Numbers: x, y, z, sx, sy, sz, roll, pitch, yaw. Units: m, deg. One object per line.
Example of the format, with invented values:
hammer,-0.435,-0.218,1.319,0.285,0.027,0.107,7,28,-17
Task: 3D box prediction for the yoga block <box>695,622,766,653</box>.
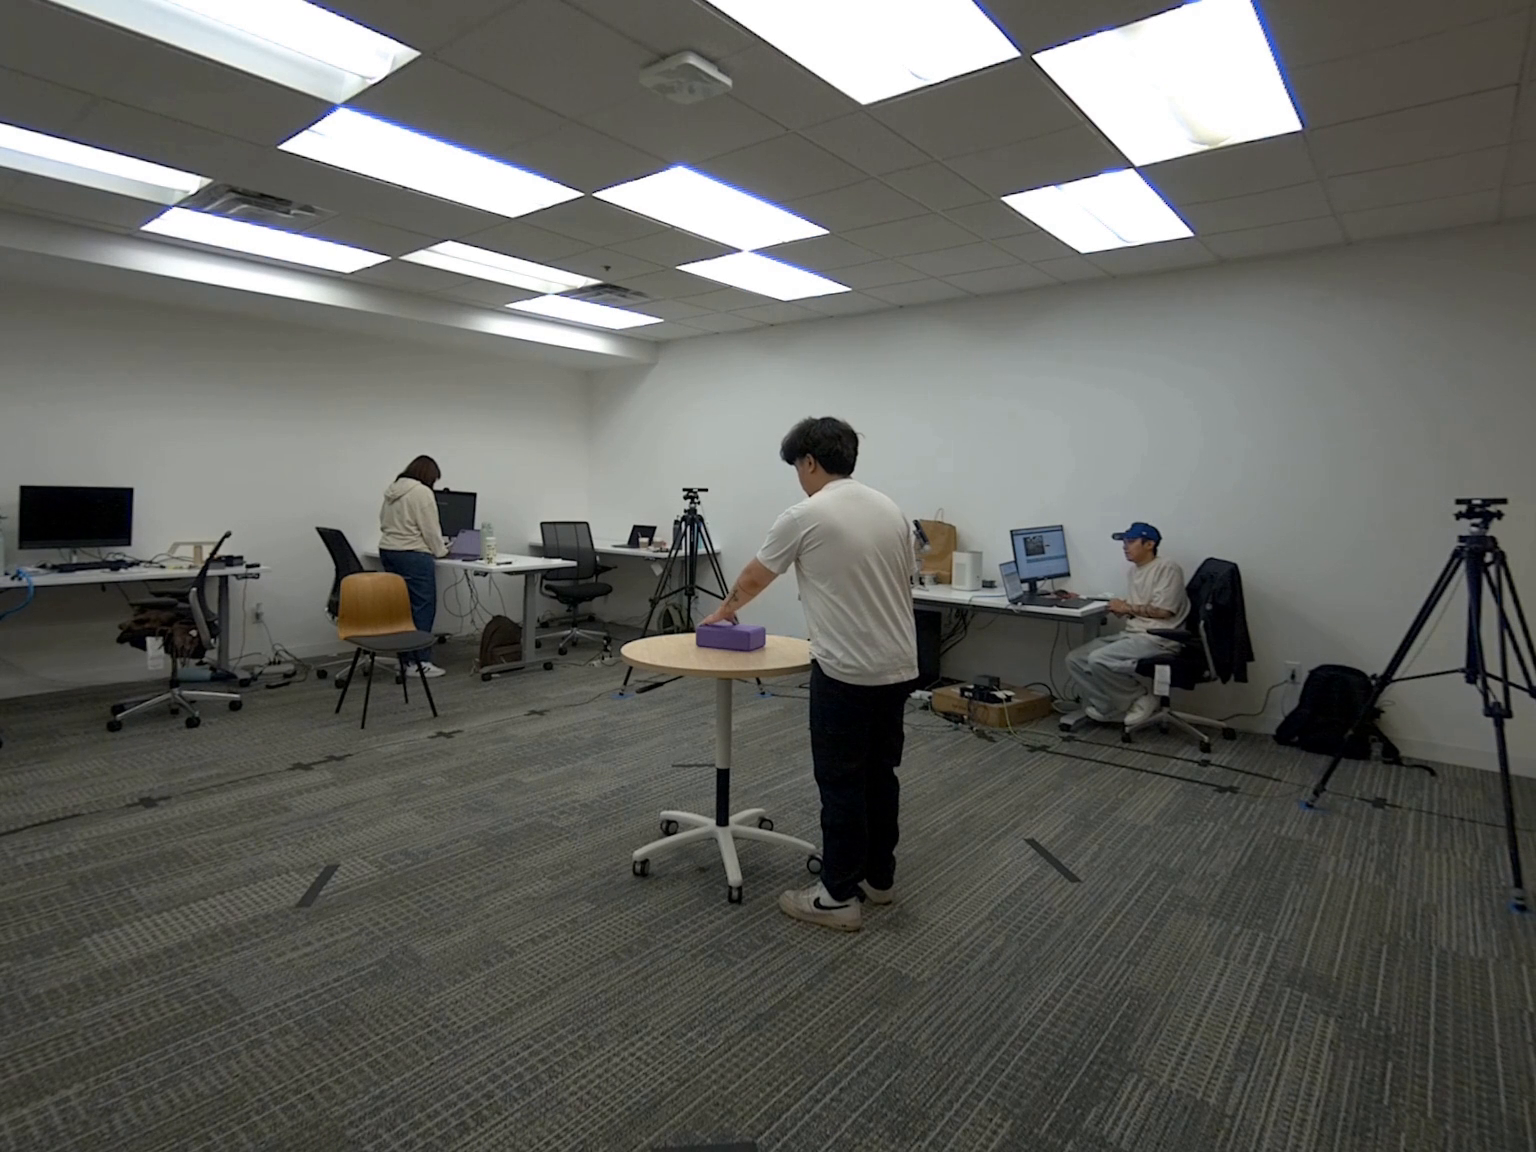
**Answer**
yoga block,-0.148,0.226,3.201,0.235,0.076,0.145,3,5,27
